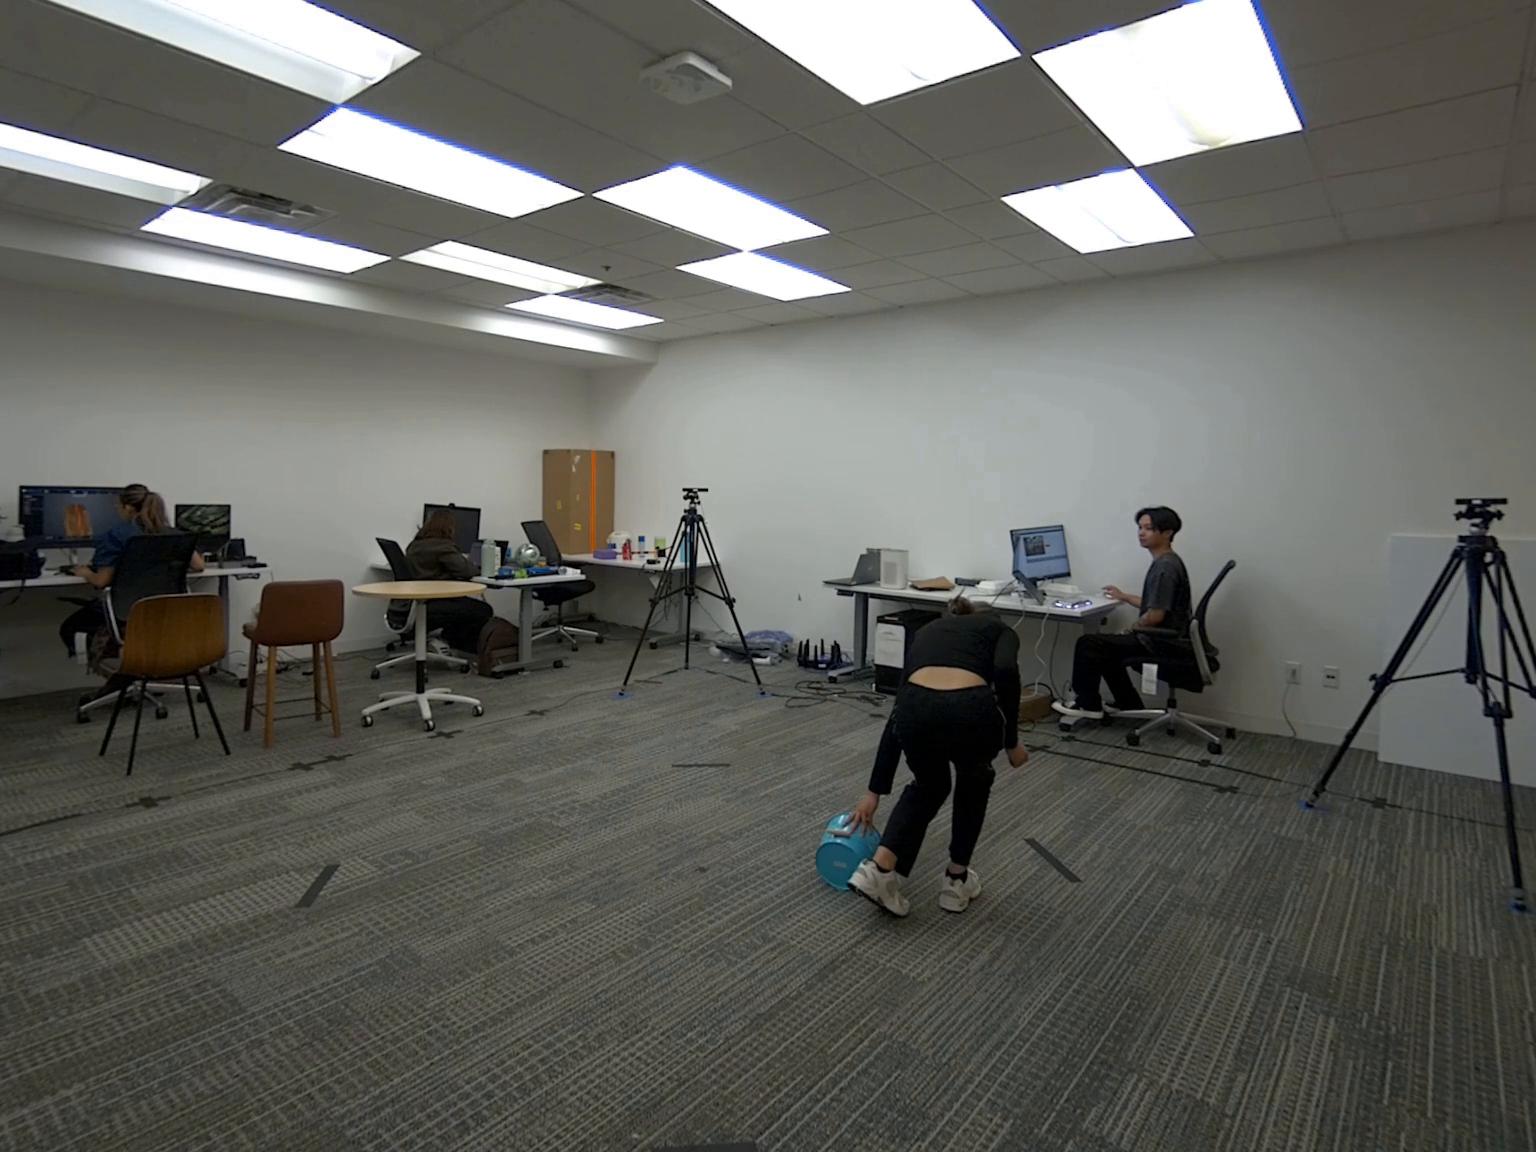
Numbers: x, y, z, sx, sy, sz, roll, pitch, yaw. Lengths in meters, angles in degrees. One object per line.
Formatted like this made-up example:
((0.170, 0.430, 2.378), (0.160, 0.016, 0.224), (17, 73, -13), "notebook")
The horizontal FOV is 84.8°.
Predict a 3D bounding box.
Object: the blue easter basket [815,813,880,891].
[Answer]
((0.273, 0.981, 3.040), (0.251, 0.241, 0.153), (3, 11, 30), "blue easter basket")
